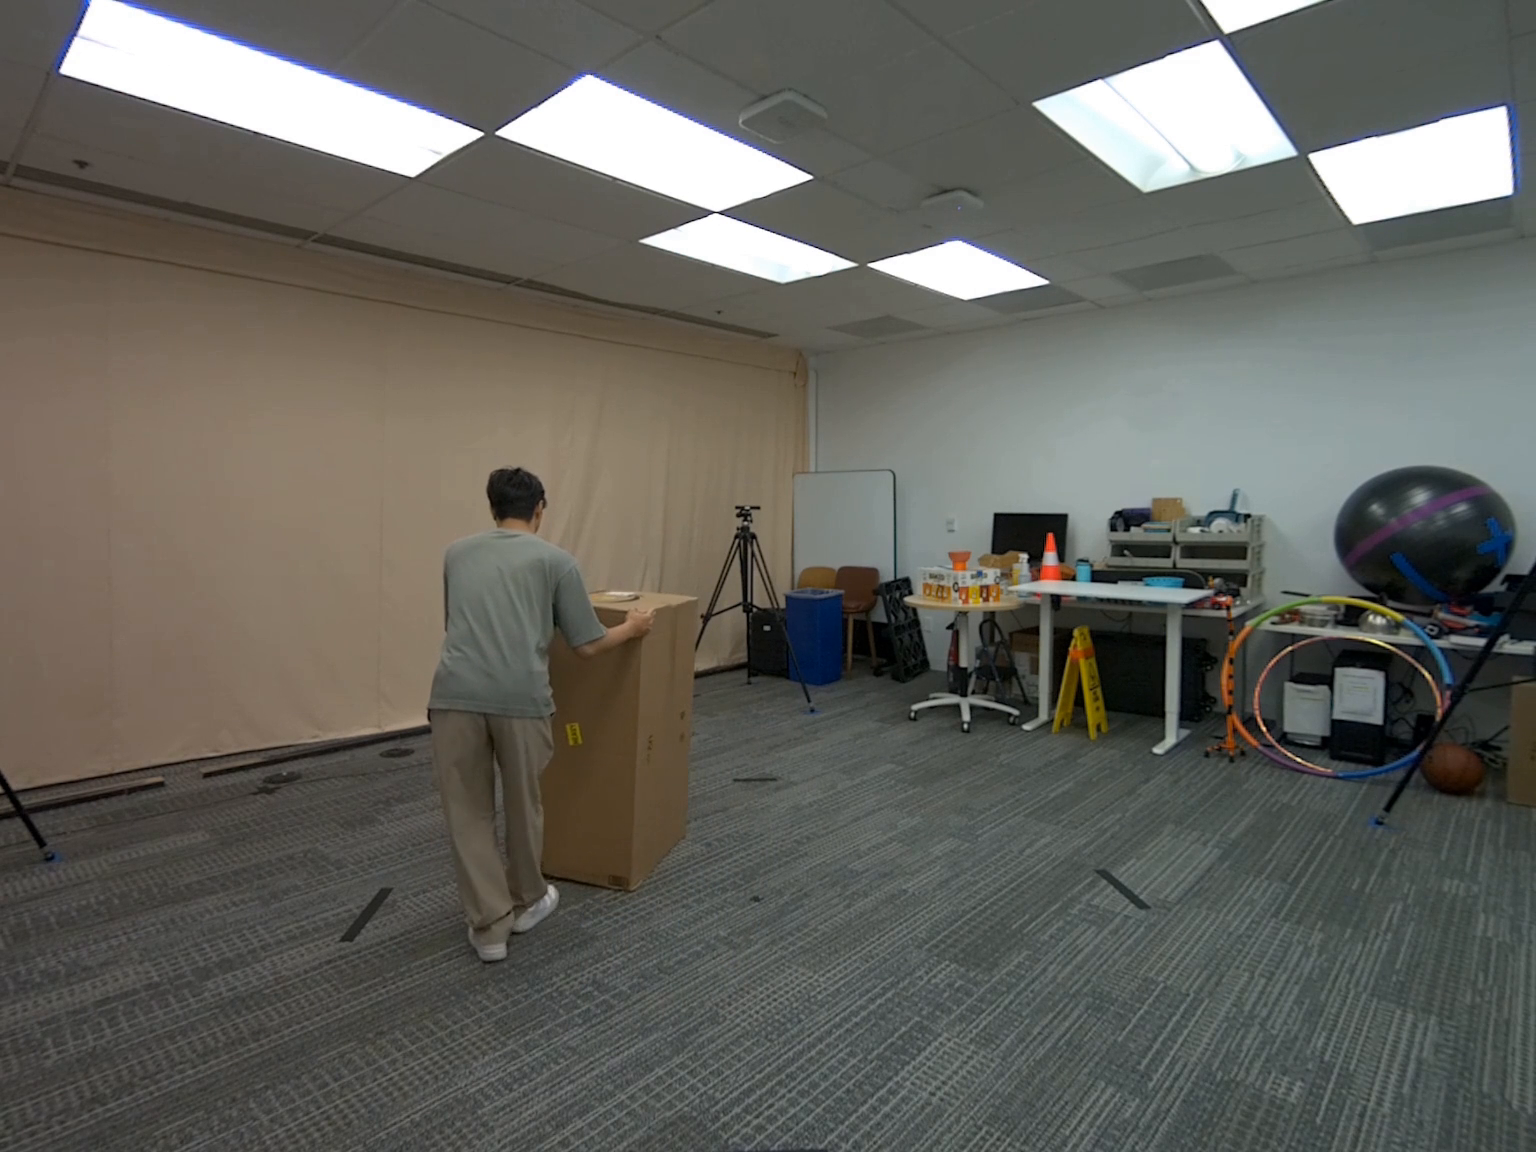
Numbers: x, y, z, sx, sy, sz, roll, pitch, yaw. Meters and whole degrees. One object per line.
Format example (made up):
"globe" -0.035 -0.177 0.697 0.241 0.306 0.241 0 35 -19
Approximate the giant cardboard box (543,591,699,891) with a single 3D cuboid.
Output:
"giant cardboard box" -0.591 0.601 3.347 0.434 1.024 0.568 4 3 16
